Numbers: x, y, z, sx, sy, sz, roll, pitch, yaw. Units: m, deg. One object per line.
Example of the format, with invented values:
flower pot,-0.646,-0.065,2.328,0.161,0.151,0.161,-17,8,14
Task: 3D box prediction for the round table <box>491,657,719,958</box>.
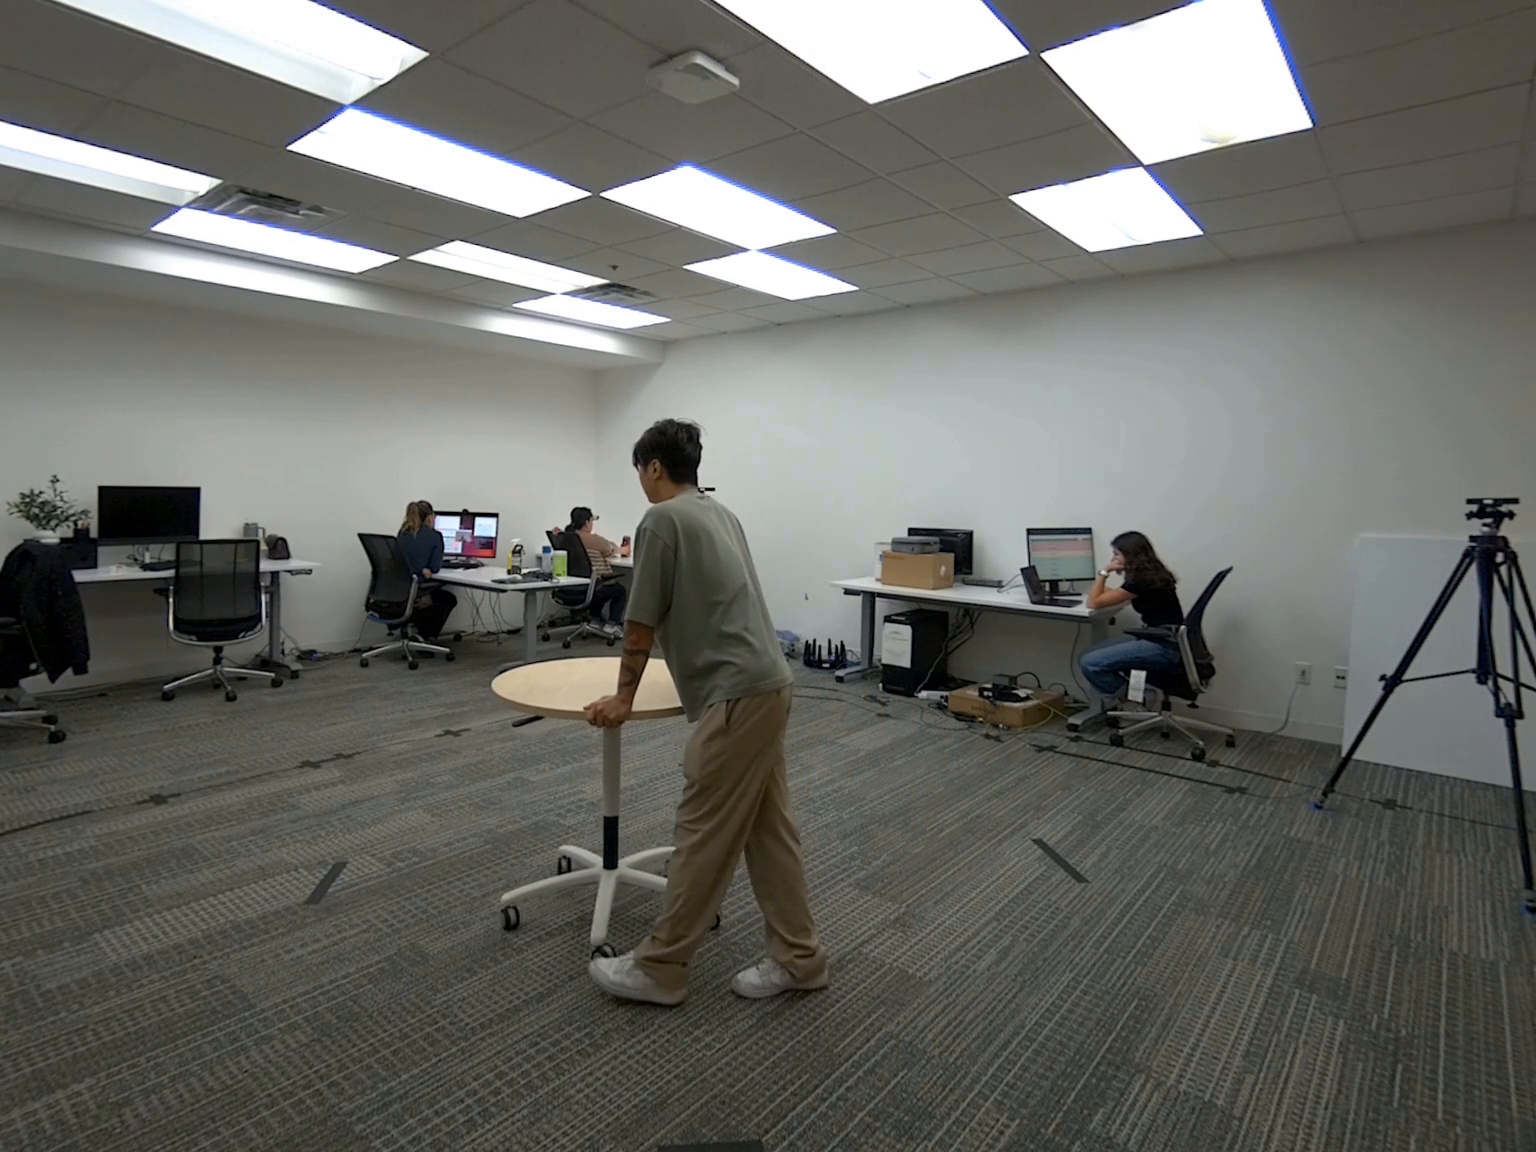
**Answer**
round table,-0.504,0.713,2.787,0.784,0.784,0.789,1,4,-2
